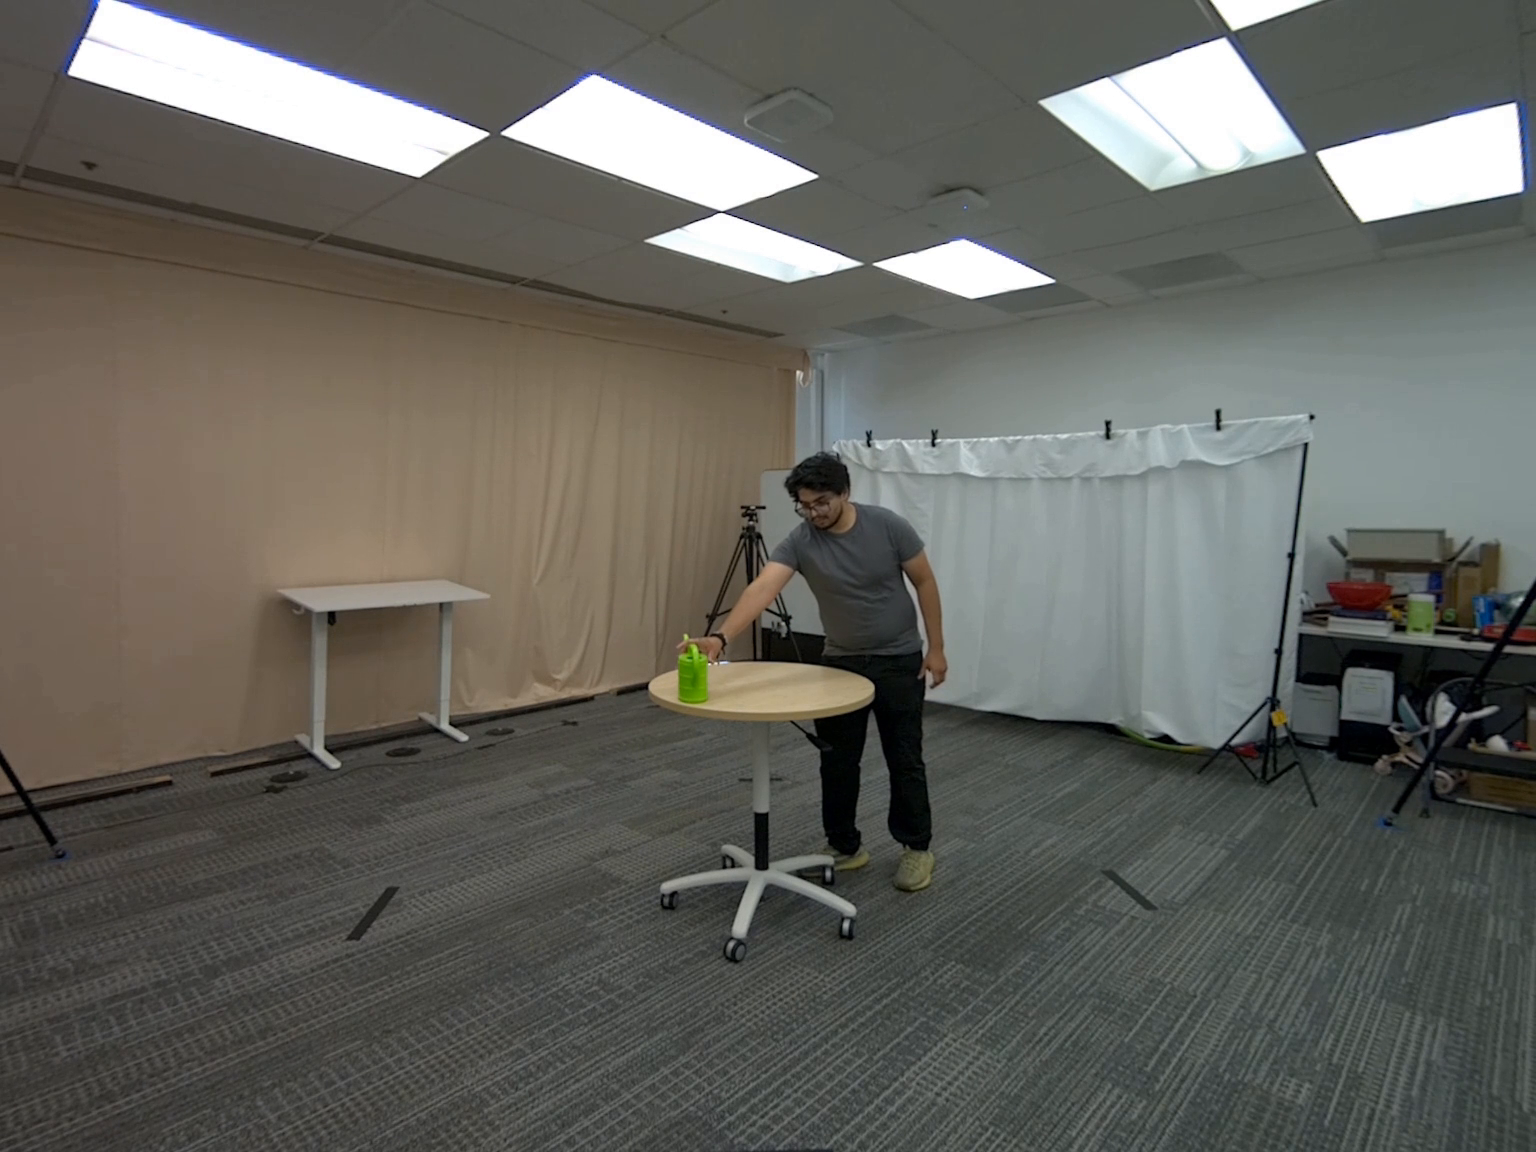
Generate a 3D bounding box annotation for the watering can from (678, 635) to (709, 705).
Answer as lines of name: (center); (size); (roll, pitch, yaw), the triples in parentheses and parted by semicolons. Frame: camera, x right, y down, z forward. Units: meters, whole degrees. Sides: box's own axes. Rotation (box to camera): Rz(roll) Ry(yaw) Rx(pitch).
watering can: (-0.228, 0.303, 2.704); (0.098, 0.176, 0.277); (1, 6, 4)
